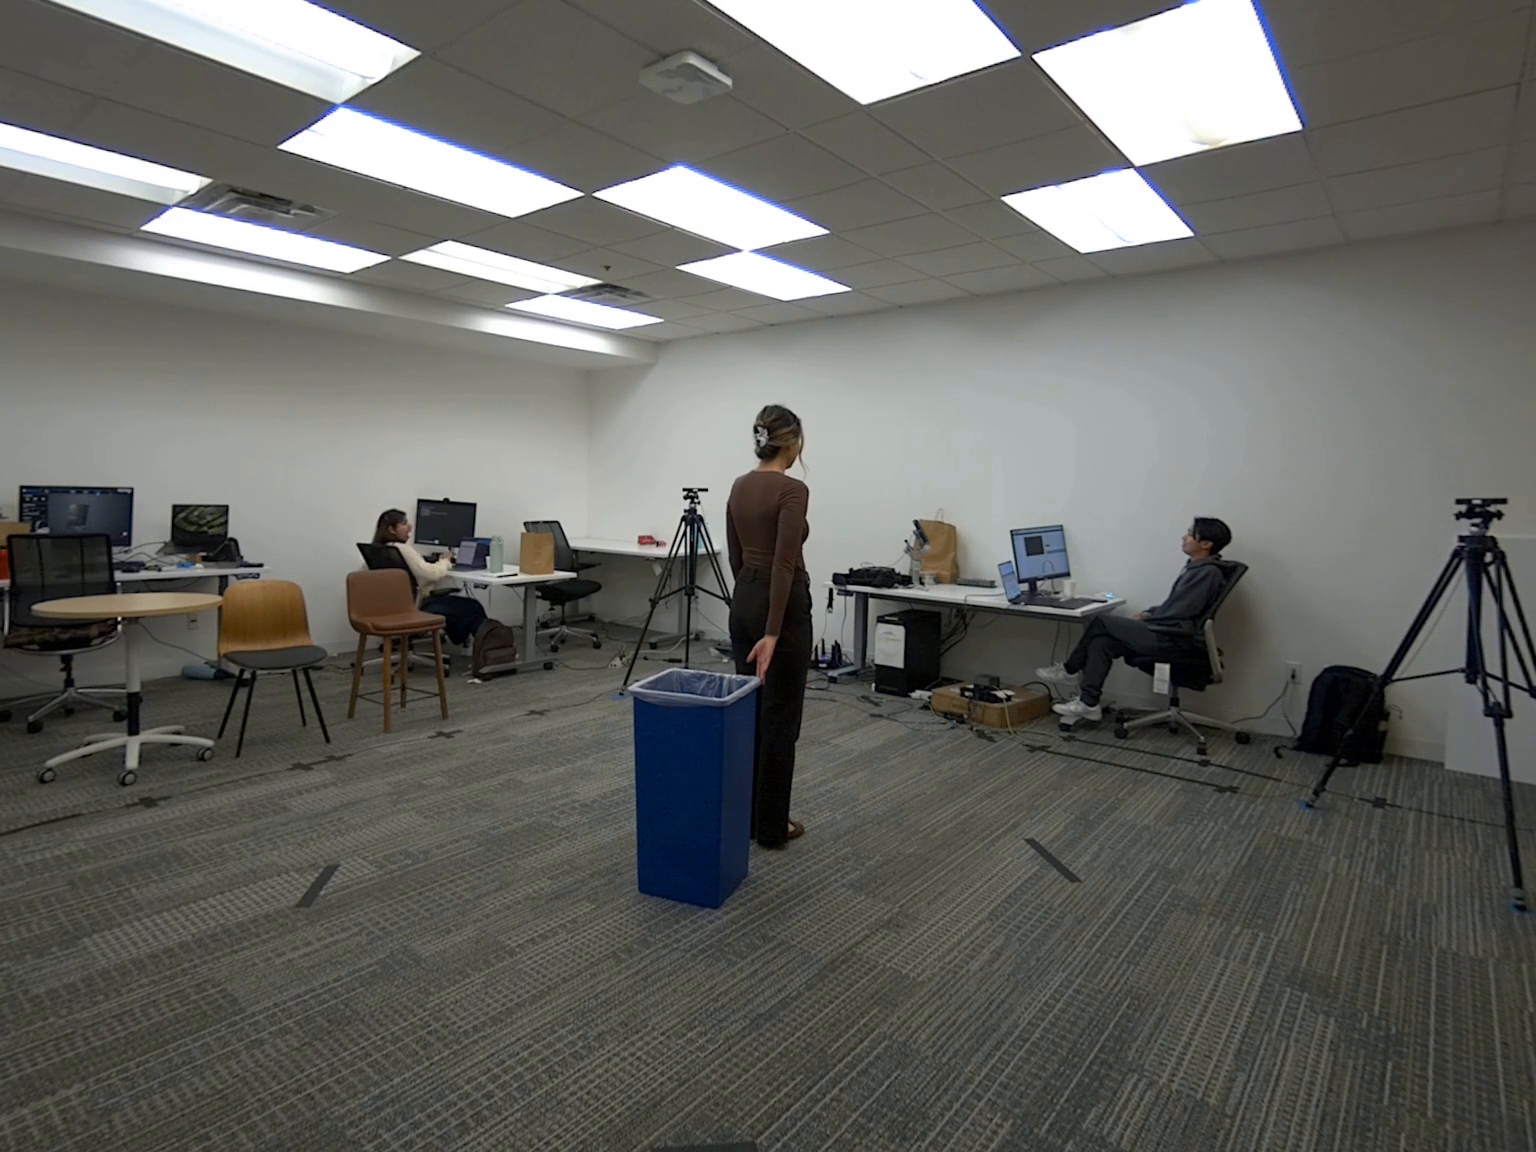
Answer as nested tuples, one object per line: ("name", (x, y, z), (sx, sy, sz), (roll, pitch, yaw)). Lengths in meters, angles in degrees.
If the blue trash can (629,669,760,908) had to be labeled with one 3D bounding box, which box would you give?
("blue trash can", (-0.260, 0.721, 2.986), (0.382, 0.712, 0.371), (1, 3, 20))
